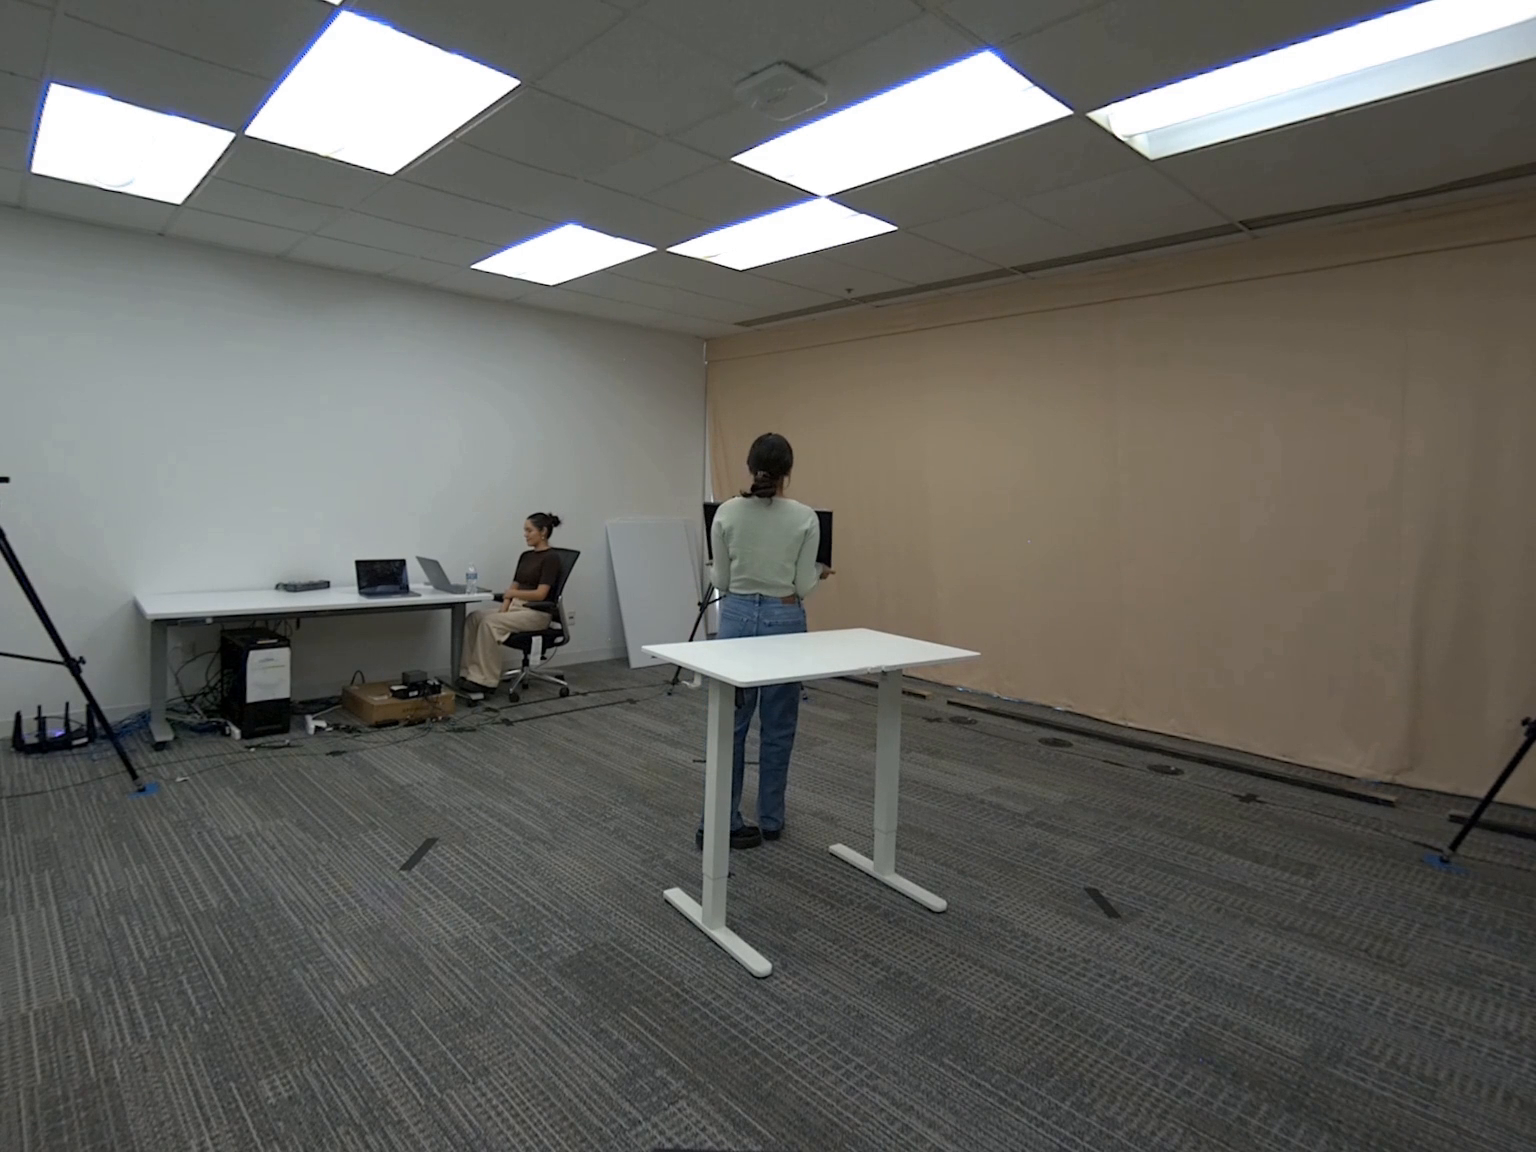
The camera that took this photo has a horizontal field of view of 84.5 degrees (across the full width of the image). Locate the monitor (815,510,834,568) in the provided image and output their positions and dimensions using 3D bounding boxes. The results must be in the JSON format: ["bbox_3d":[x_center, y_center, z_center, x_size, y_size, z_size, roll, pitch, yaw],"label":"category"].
[{"bbox_3d":[0.006,-0.117,3.627,0.542,0.190,0.510,3,-41,7],"label":"monitor"}]
